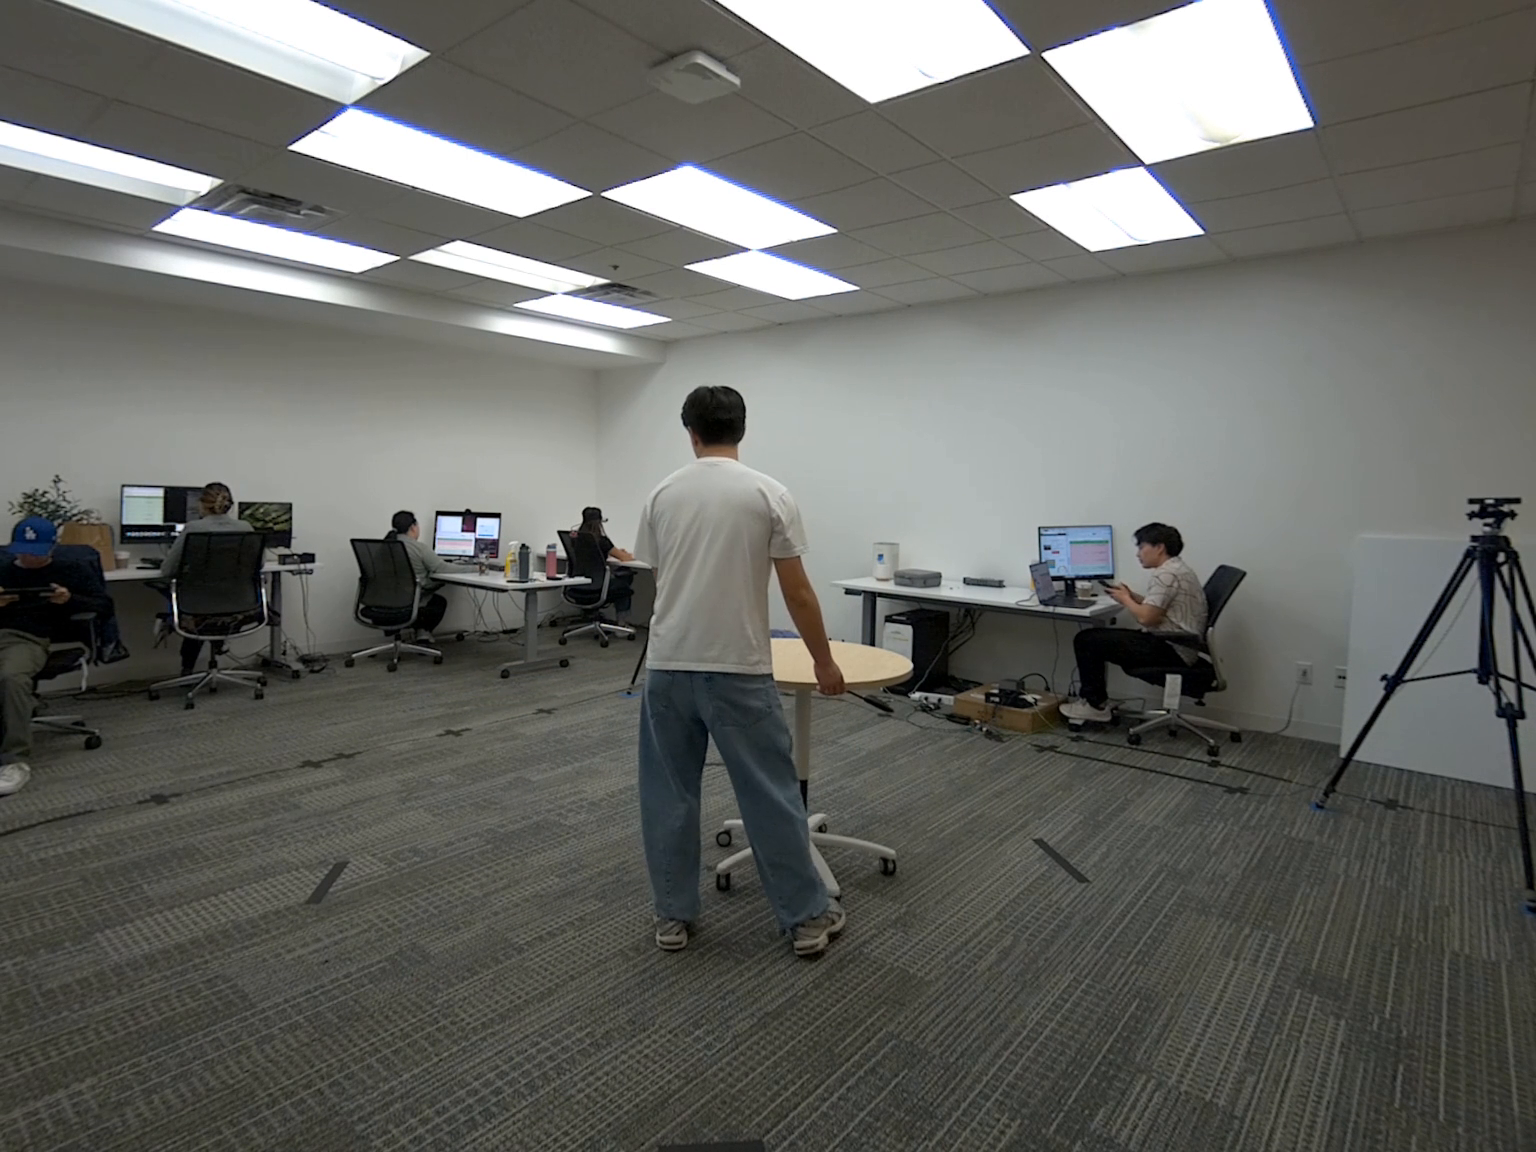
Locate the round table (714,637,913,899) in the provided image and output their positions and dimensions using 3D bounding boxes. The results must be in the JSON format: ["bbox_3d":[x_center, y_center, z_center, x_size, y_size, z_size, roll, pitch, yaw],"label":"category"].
[{"bbox_3d":[0.109,0.687,3.093,0.763,0.791,0.768,1,5,-2],"label":"round table"}]
